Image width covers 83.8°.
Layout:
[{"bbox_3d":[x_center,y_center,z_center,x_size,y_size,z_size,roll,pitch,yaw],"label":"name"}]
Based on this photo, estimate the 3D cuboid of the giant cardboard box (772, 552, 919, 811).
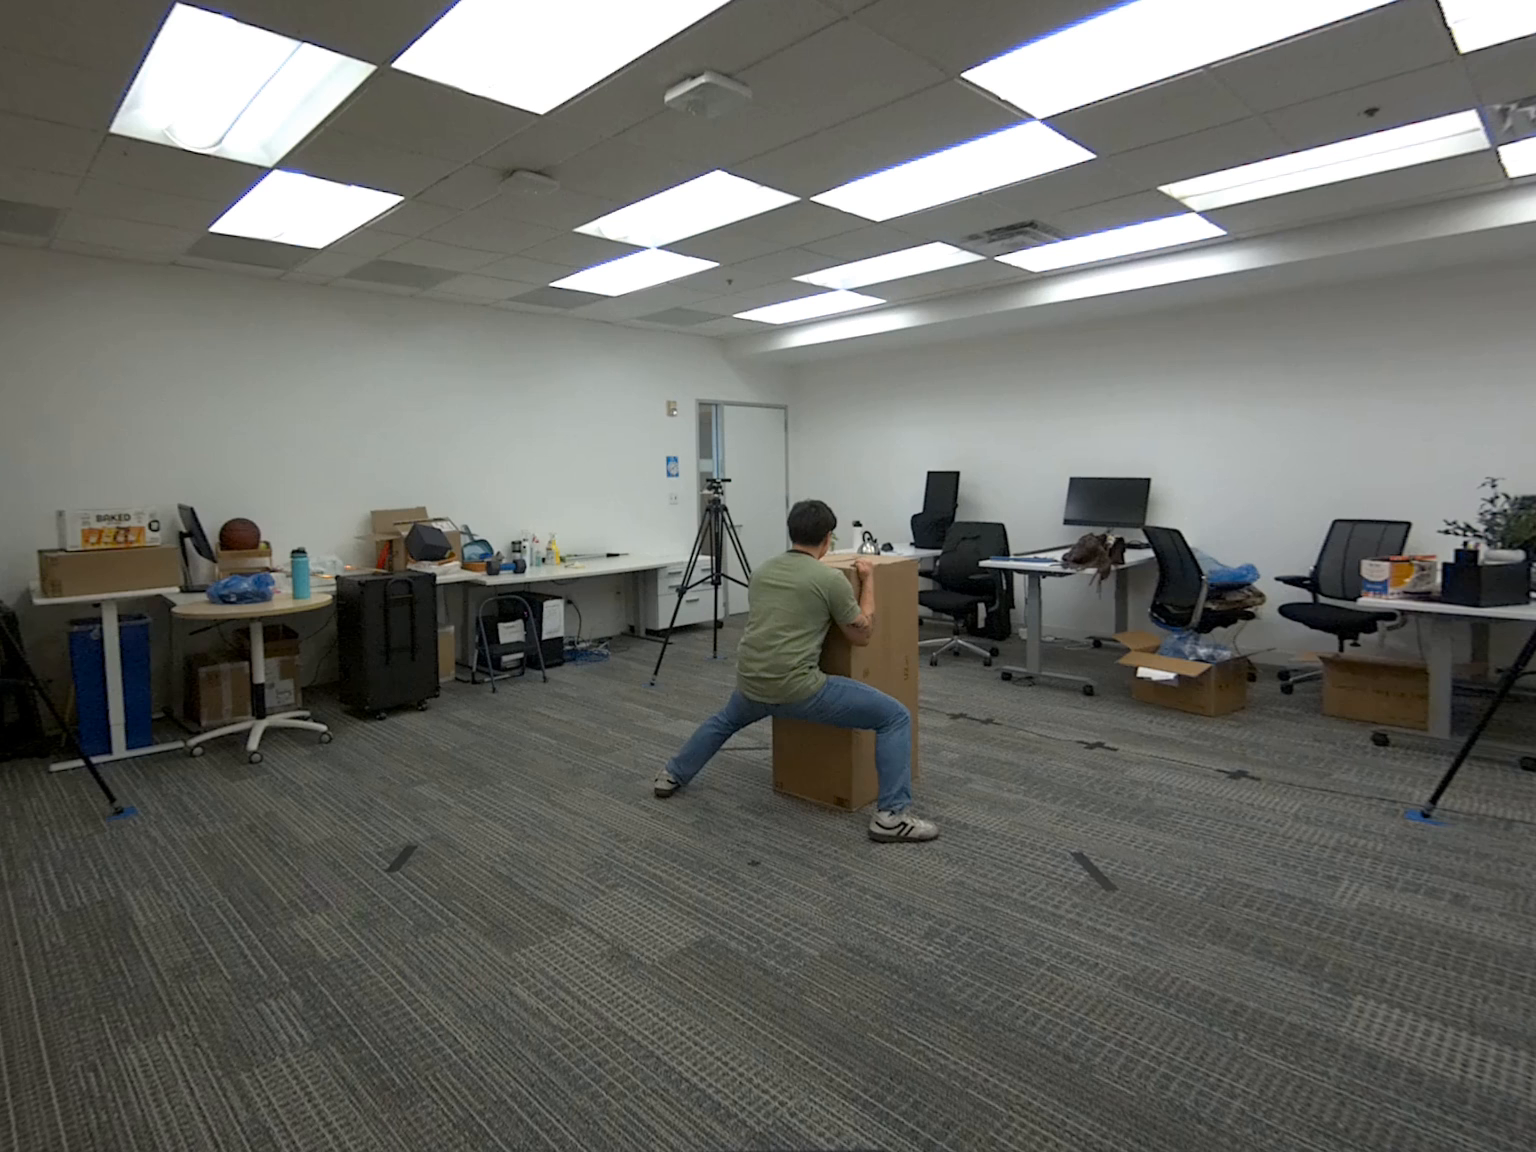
[{"bbox_3d":[0.358,0.442,3.878,0.439,1.023,0.562,3,5,39],"label":"giant cardboard box"}]
